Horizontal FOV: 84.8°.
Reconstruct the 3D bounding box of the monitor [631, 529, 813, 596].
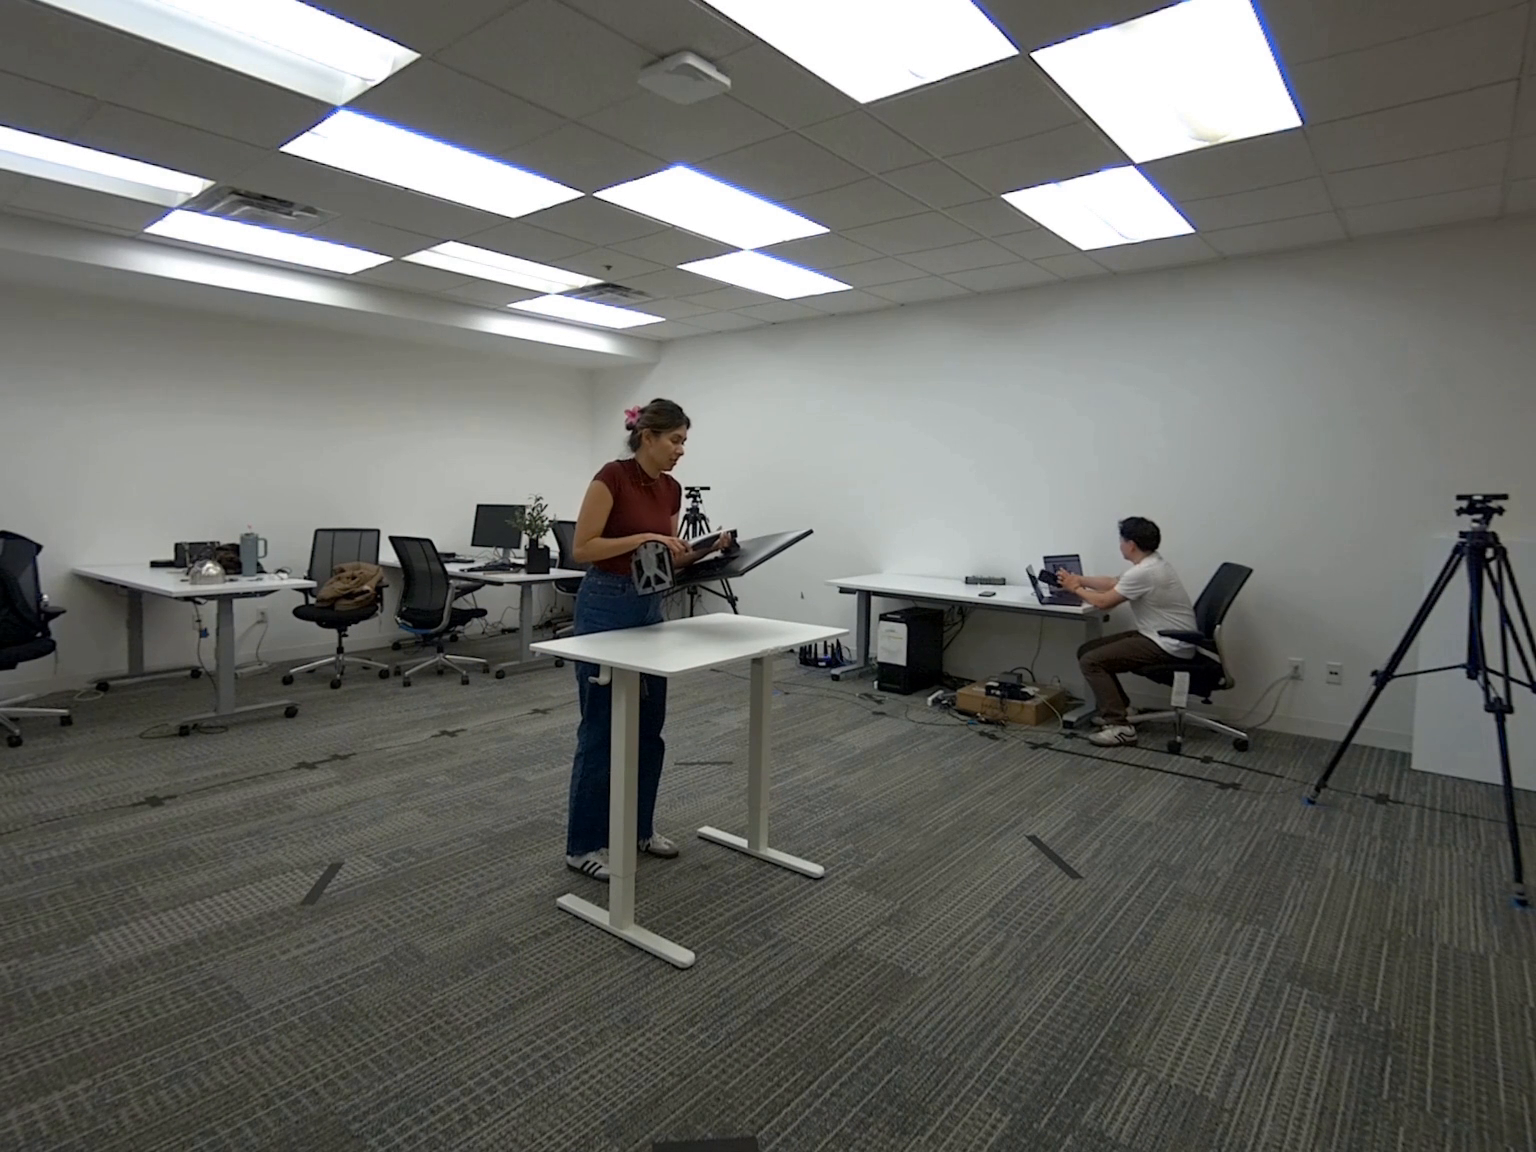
[{"bbox_3d":[-0.214,-0.070,3.015,0.510,0.187,0.552,-14,3,-35],"label":"monitor"}]
